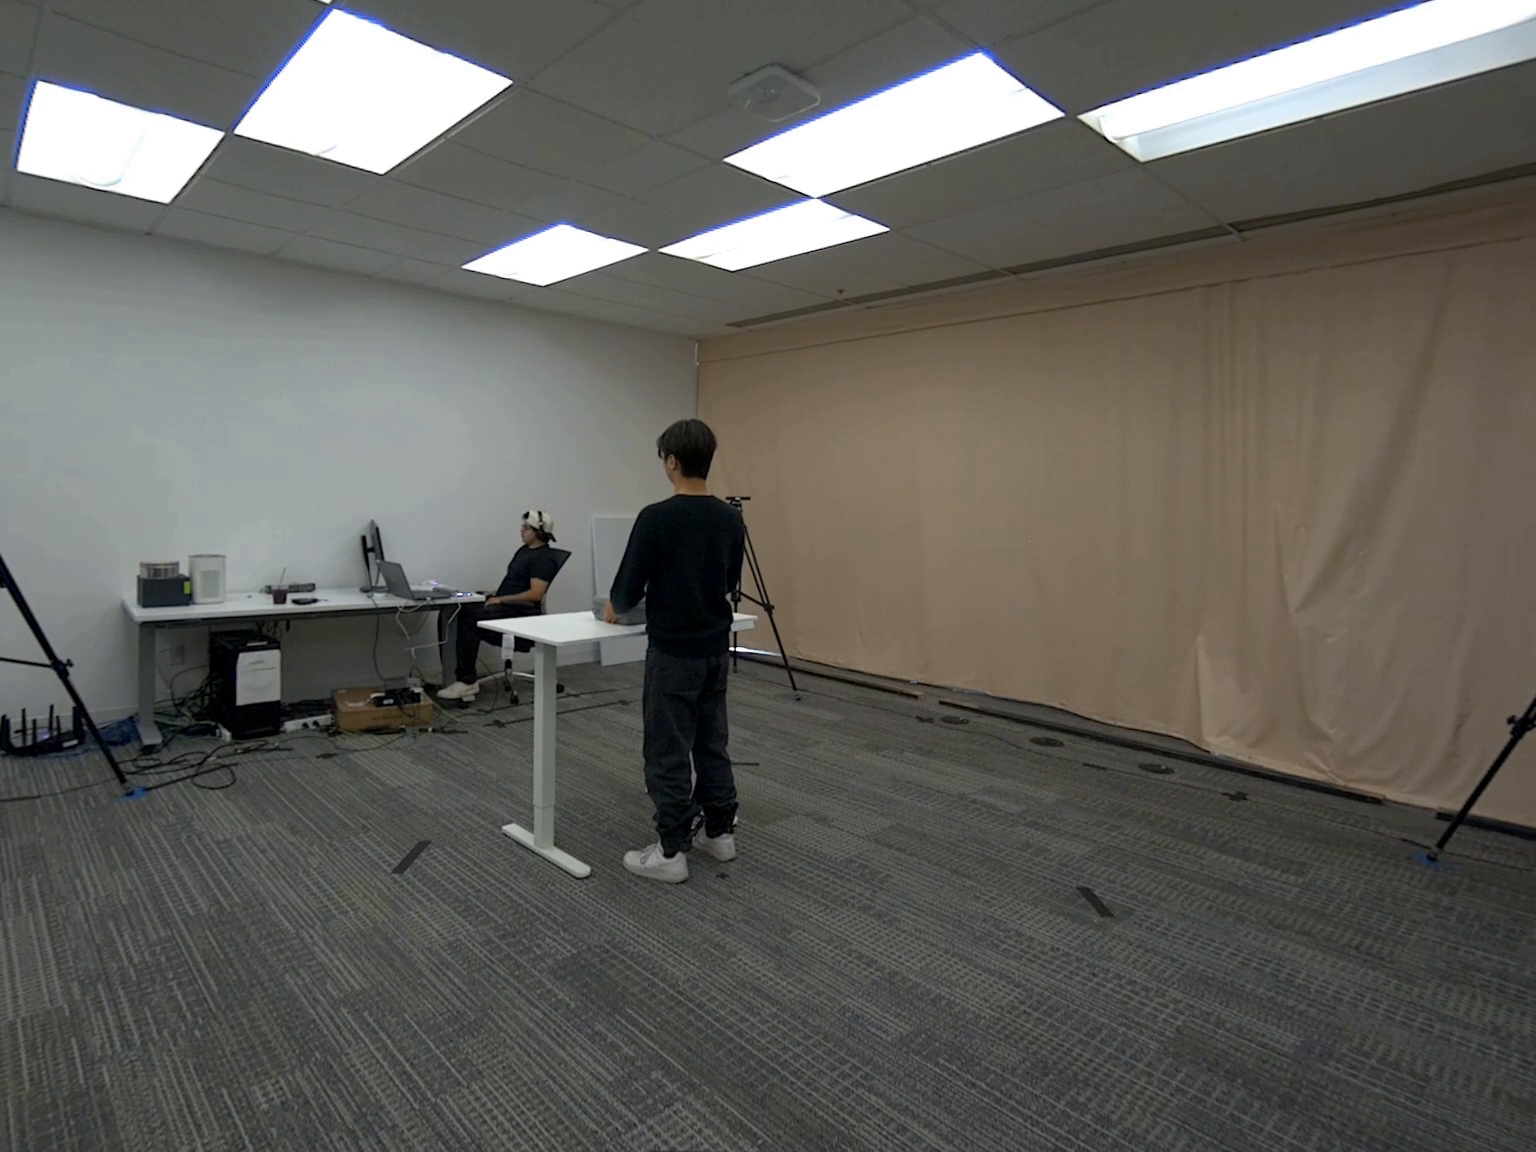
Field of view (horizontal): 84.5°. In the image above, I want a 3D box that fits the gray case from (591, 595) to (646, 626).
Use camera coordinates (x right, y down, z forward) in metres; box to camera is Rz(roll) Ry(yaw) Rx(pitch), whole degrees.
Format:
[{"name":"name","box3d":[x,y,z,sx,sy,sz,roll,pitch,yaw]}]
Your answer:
[{"name":"gray case","box3d":[-0.577,0.132,3.476,0.267,0.104,0.251,5,7,45]}]
